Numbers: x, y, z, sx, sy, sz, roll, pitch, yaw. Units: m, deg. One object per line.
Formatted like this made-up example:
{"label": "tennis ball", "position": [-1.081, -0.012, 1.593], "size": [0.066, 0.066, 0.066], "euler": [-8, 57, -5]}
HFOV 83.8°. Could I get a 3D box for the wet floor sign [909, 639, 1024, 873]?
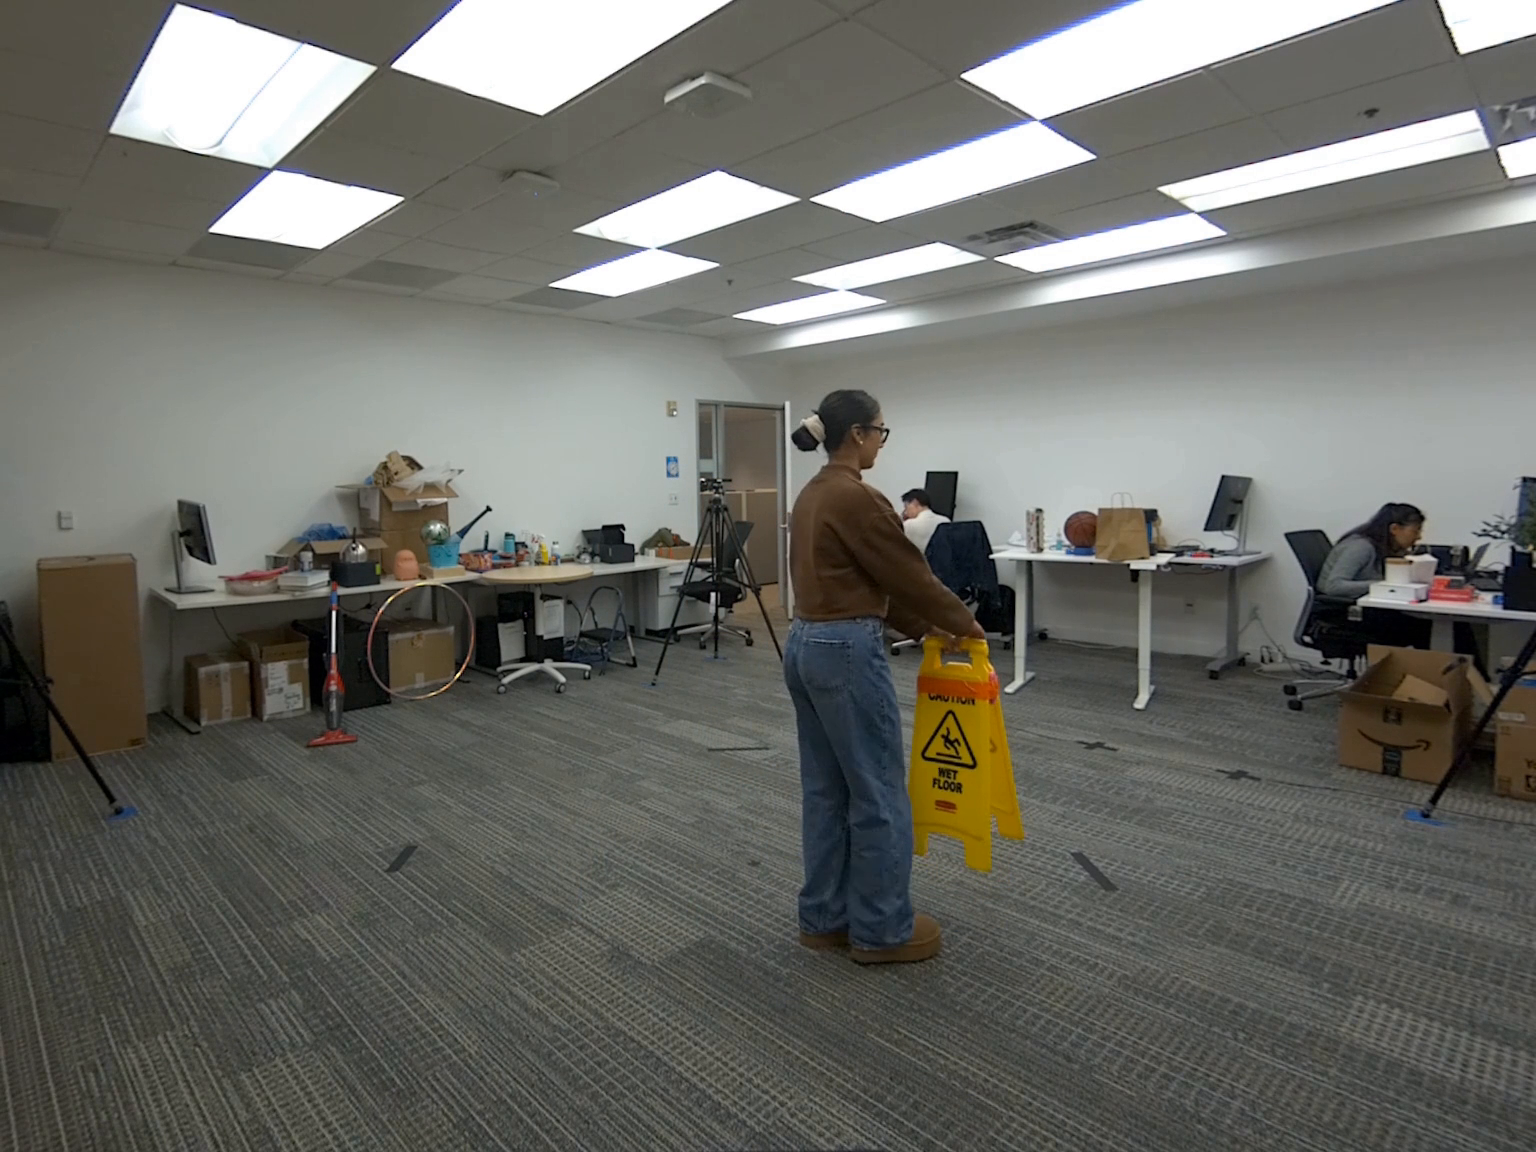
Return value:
{"label": "wet floor sign", "position": [0.591, 0.514, 2.621], "size": [0.290, 0.644, 0.282], "euler": [0, 4, 38]}
